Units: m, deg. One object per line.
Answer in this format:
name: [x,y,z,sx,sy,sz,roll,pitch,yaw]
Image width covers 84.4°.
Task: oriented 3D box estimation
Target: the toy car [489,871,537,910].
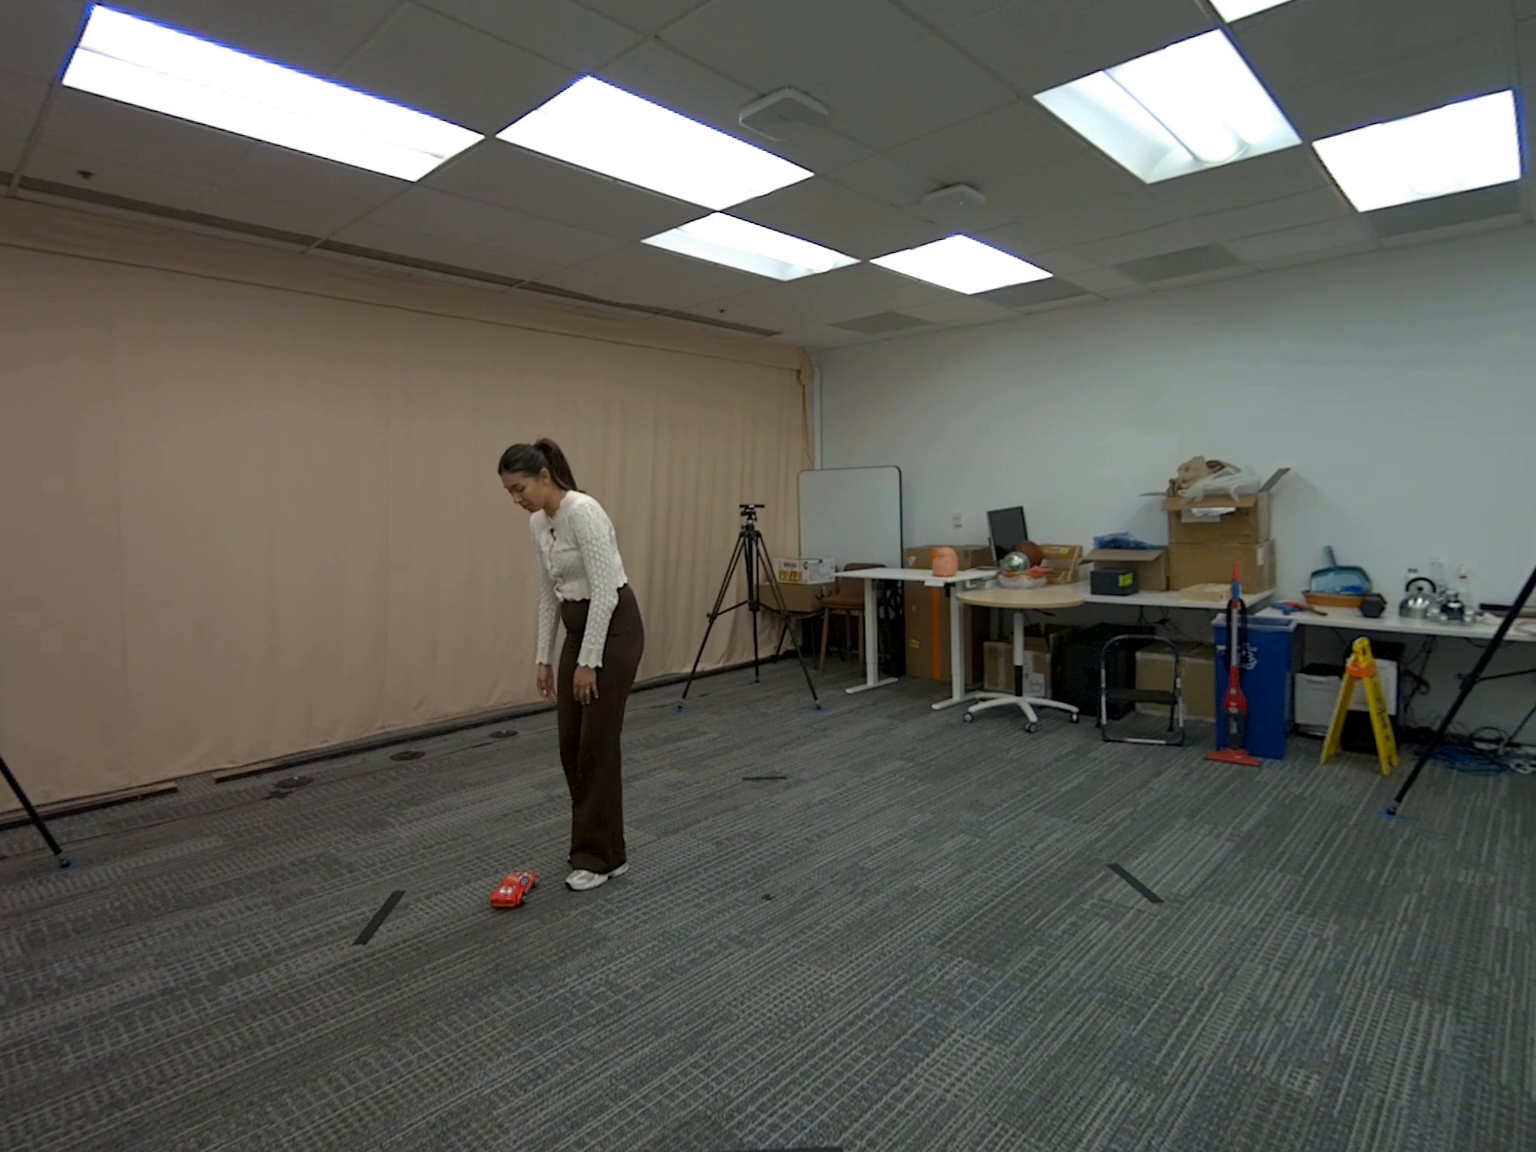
toy car: [-0.921,1.130,3.009,0.131,0.084,0.252,-1,-8,2]
